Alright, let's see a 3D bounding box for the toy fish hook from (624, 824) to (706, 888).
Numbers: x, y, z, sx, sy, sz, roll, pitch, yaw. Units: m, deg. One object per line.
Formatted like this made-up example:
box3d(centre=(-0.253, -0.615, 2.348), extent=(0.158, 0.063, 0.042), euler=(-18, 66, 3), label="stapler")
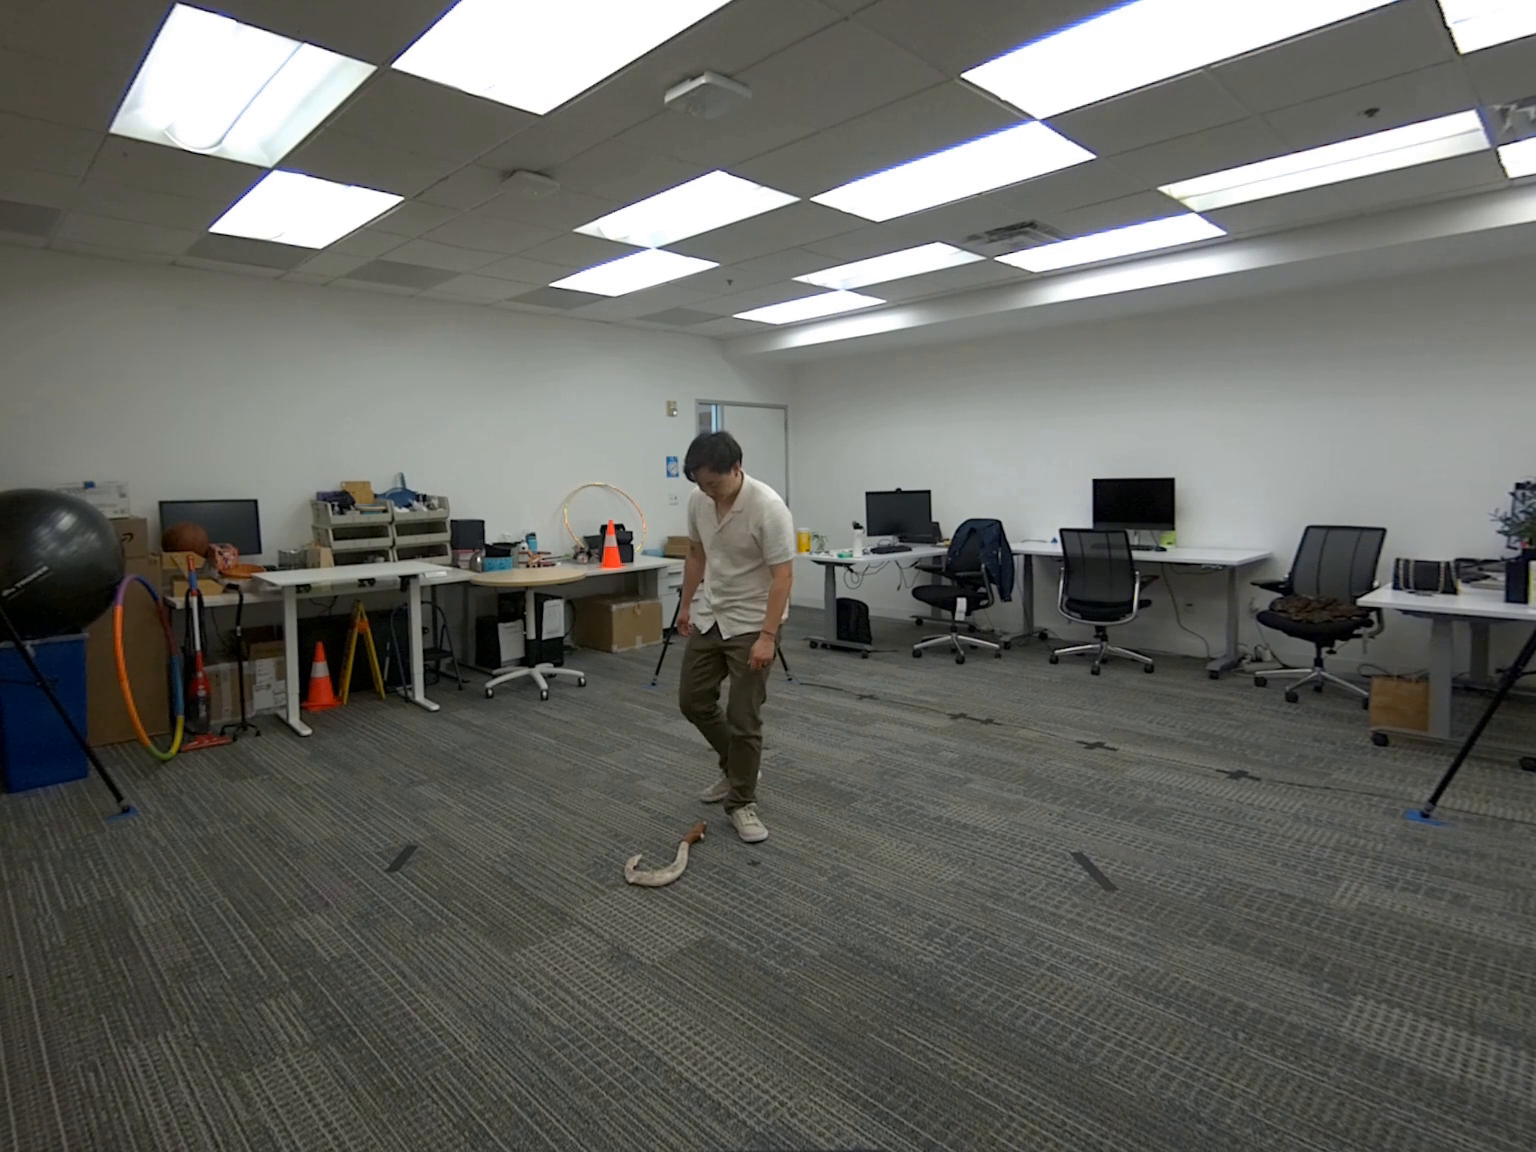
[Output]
box3d(centre=(-0.371, 1.019, 3.172), extent=(0.228, 0.048, 0.501), euler=(3, 7, 15), label="toy fish hook")
